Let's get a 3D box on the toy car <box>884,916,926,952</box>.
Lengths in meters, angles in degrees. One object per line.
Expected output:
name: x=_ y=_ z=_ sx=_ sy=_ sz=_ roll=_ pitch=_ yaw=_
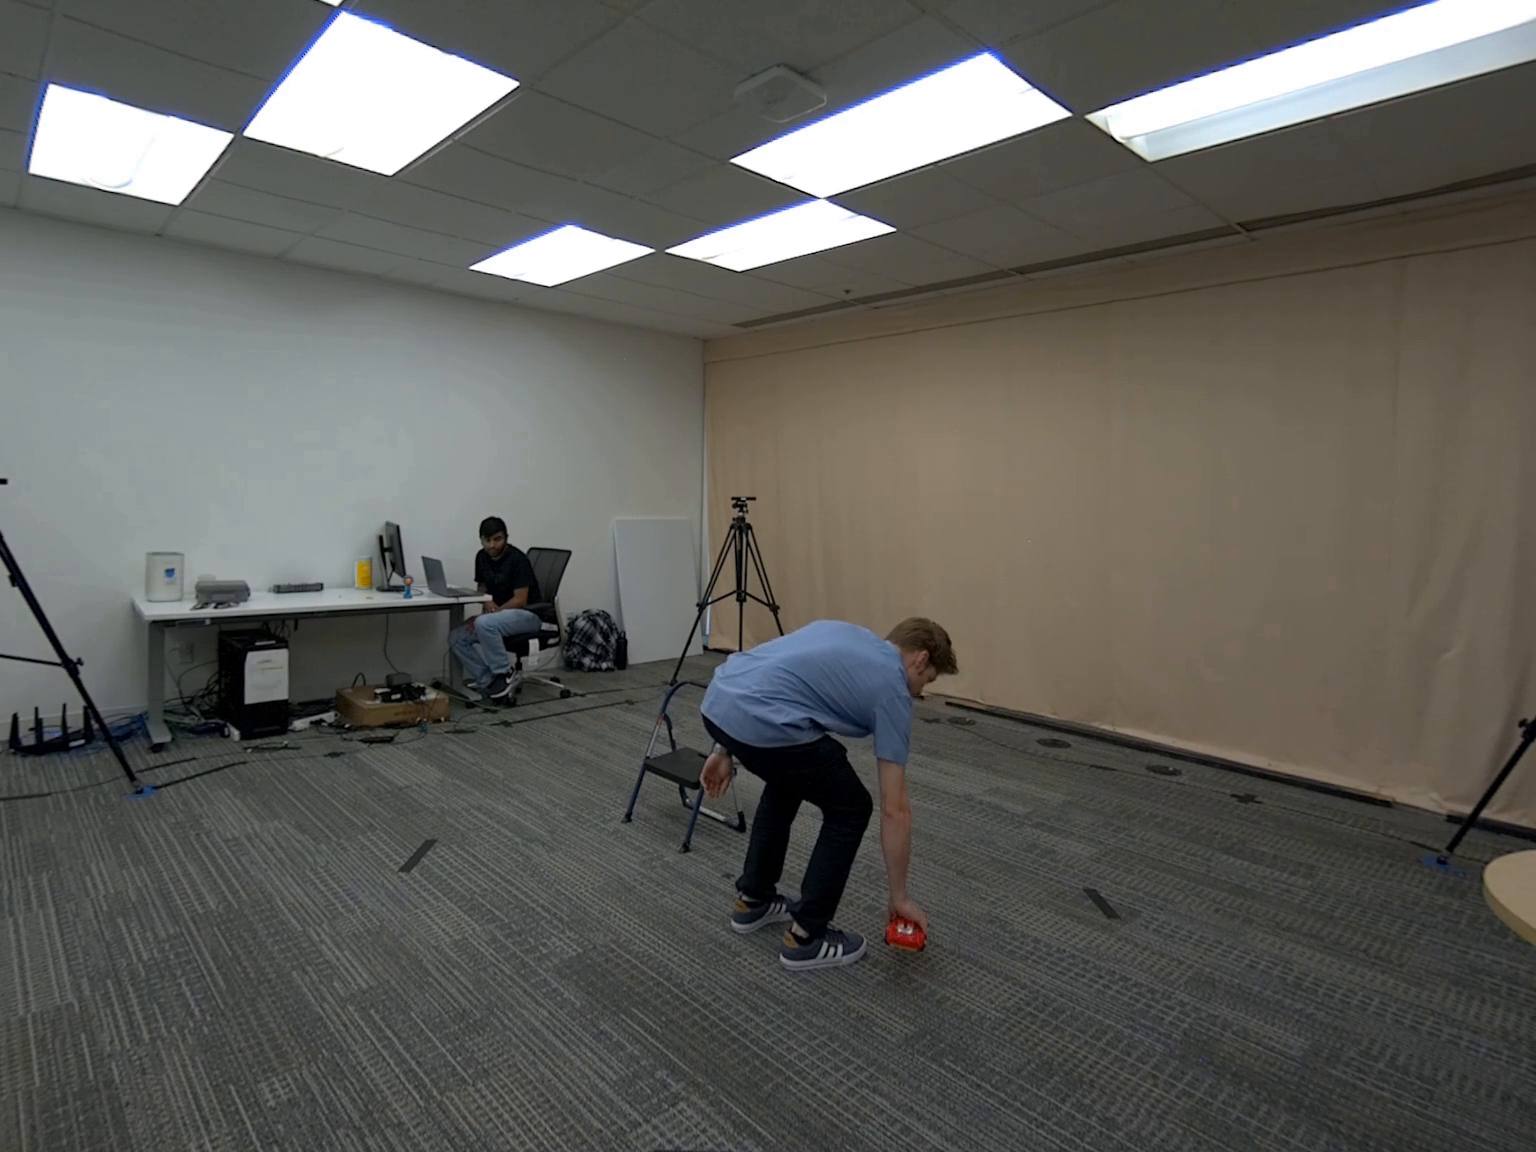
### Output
toy car: x=0.409 y=1.059 z=2.535 sx=0.132 sy=0.083 sz=0.250 roll=6 pitch=-8 yaw=13
